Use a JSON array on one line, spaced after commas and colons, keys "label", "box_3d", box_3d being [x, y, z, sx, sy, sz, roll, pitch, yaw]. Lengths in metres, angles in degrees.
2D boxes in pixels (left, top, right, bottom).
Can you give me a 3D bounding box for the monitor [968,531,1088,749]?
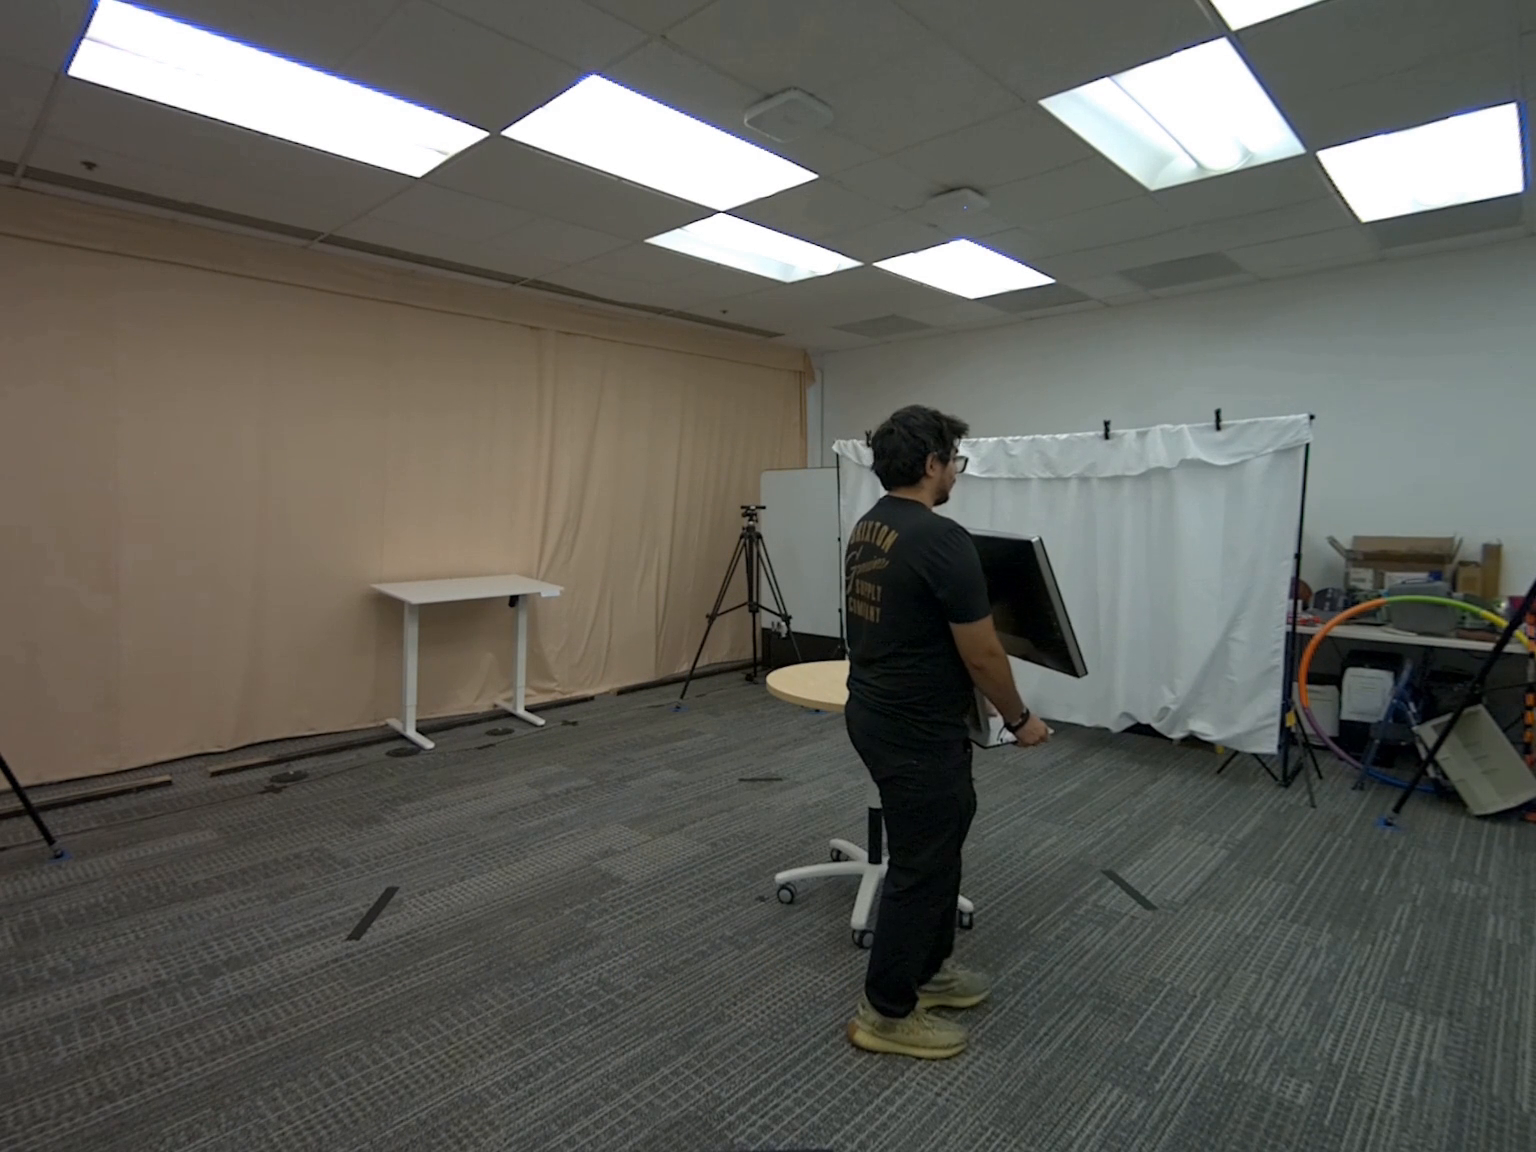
[{"label": "monitor", "box_3d": [0.560, 0.154, 2.223, 0.208, 0.550, 0.576, -18, 9, -14]}]
